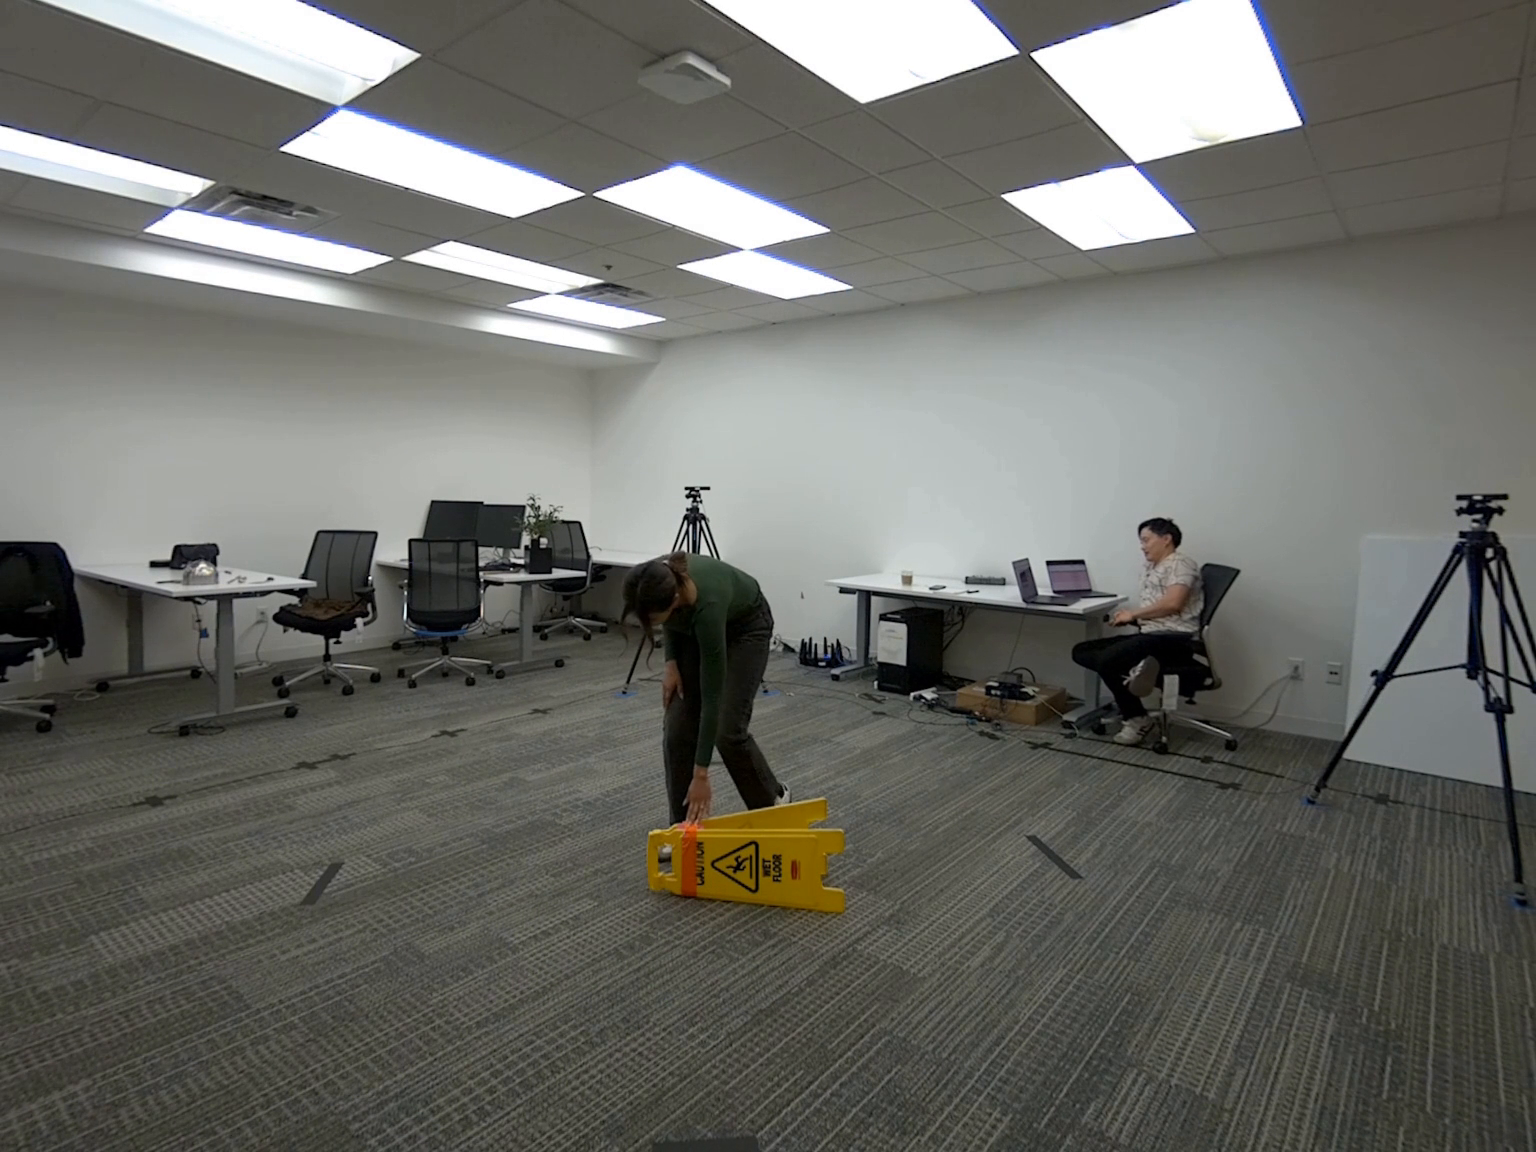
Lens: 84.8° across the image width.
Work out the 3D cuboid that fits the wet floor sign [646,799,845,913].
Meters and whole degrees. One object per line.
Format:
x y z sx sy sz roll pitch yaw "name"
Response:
-0.100 0.955 2.906 0.643 0.281 0.292 -2 5 -5 "wet floor sign"
